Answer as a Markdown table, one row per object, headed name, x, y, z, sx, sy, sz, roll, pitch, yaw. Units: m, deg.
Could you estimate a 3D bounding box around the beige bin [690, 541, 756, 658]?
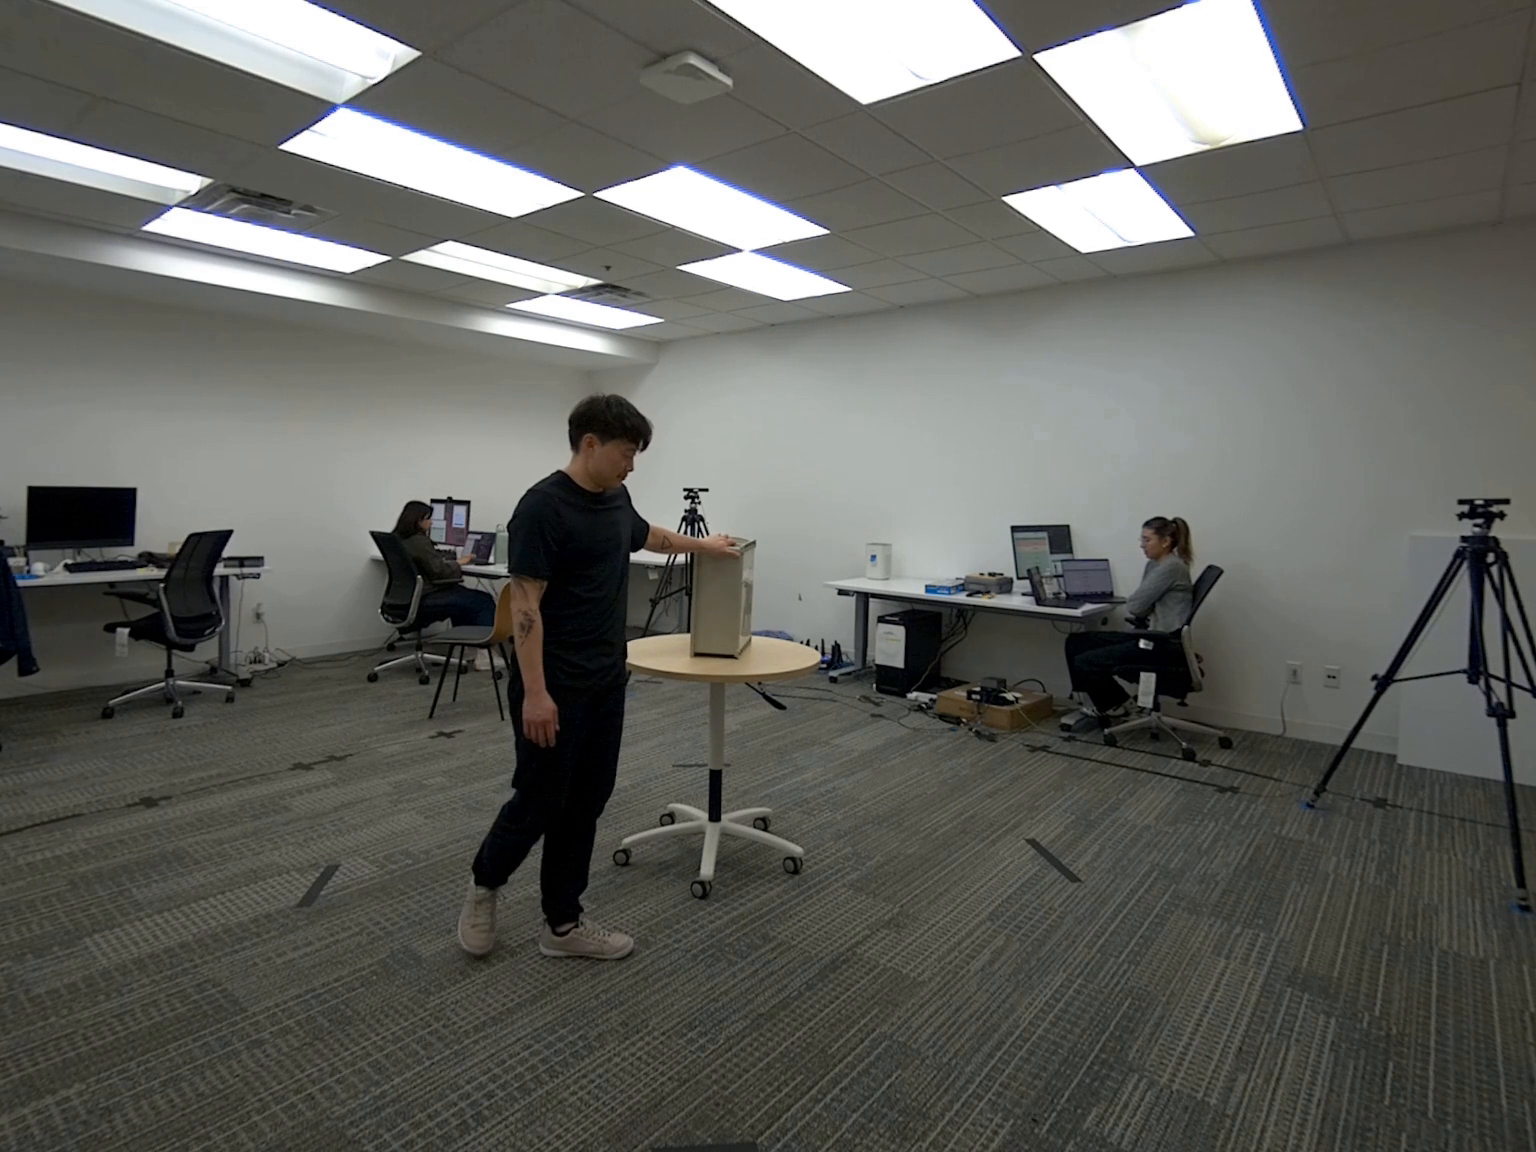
| name | x | y | z | sx | sy | sz | roll | pitch | yaw |
| --- | --- | --- | --- | --- | --- | --- | --- | --- | --- |
| beige bin | -0.169 | 0.066 | 3.223 | 0.191 | 0.420 | 0.375 | 4 | 6 | 8 |
